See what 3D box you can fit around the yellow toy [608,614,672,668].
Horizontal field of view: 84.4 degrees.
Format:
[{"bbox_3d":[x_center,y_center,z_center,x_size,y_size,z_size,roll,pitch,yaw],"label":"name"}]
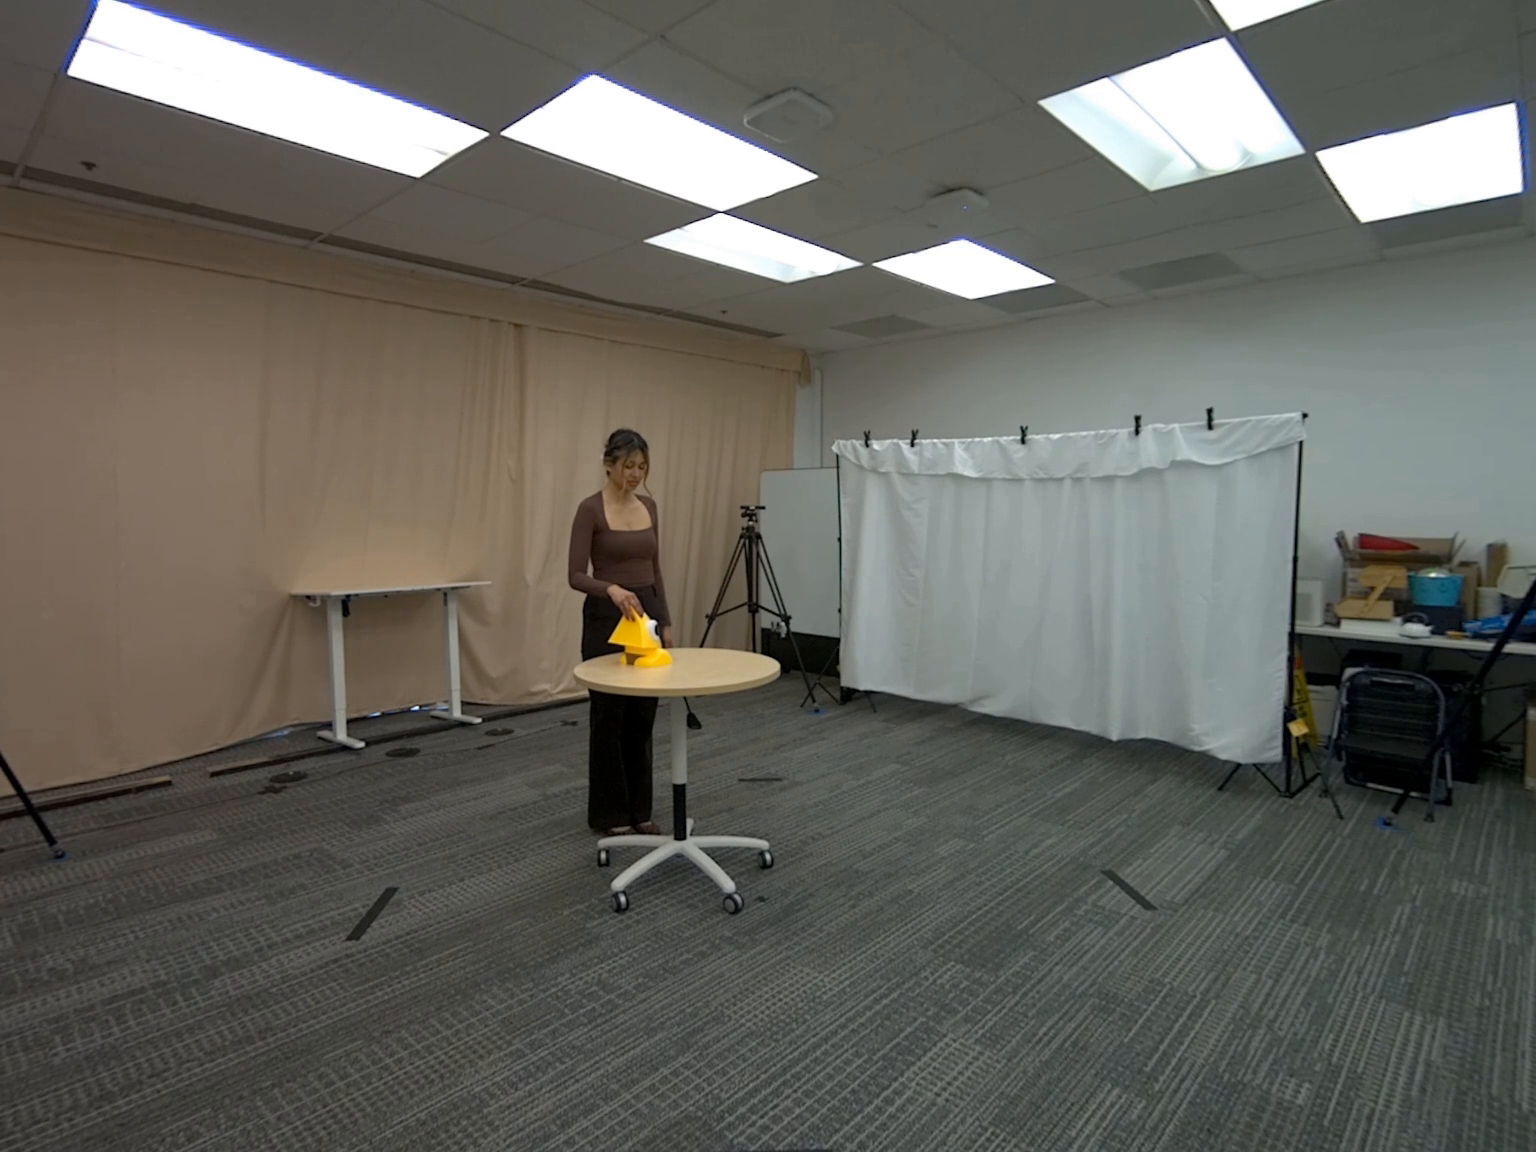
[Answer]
[{"bbox_3d":[-0.479,0.218,3.219,0.211,0.230,0.187,2,4,42],"label":"yellow toy"}]
